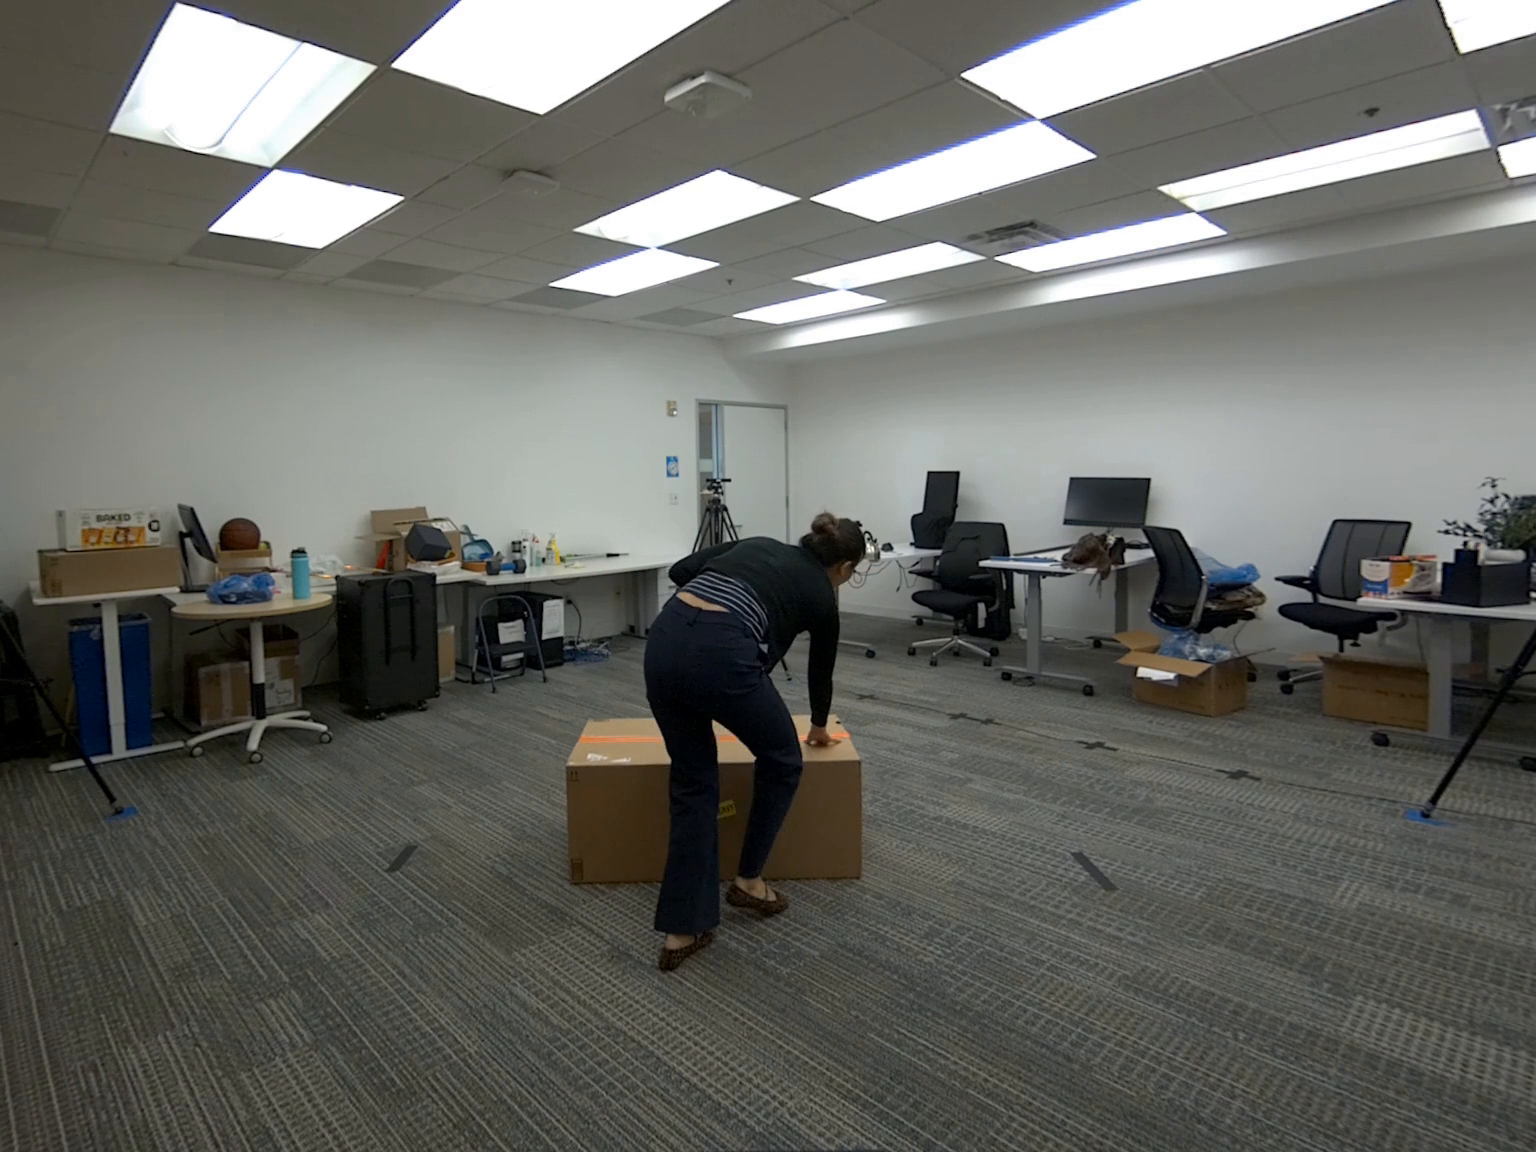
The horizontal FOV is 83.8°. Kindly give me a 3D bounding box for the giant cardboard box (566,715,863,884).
[{"bbox_3d":[-0.206,0.815,3.242,1.025,0.424,0.581,-1,6,-1],"label":"giant cardboard box"}]
